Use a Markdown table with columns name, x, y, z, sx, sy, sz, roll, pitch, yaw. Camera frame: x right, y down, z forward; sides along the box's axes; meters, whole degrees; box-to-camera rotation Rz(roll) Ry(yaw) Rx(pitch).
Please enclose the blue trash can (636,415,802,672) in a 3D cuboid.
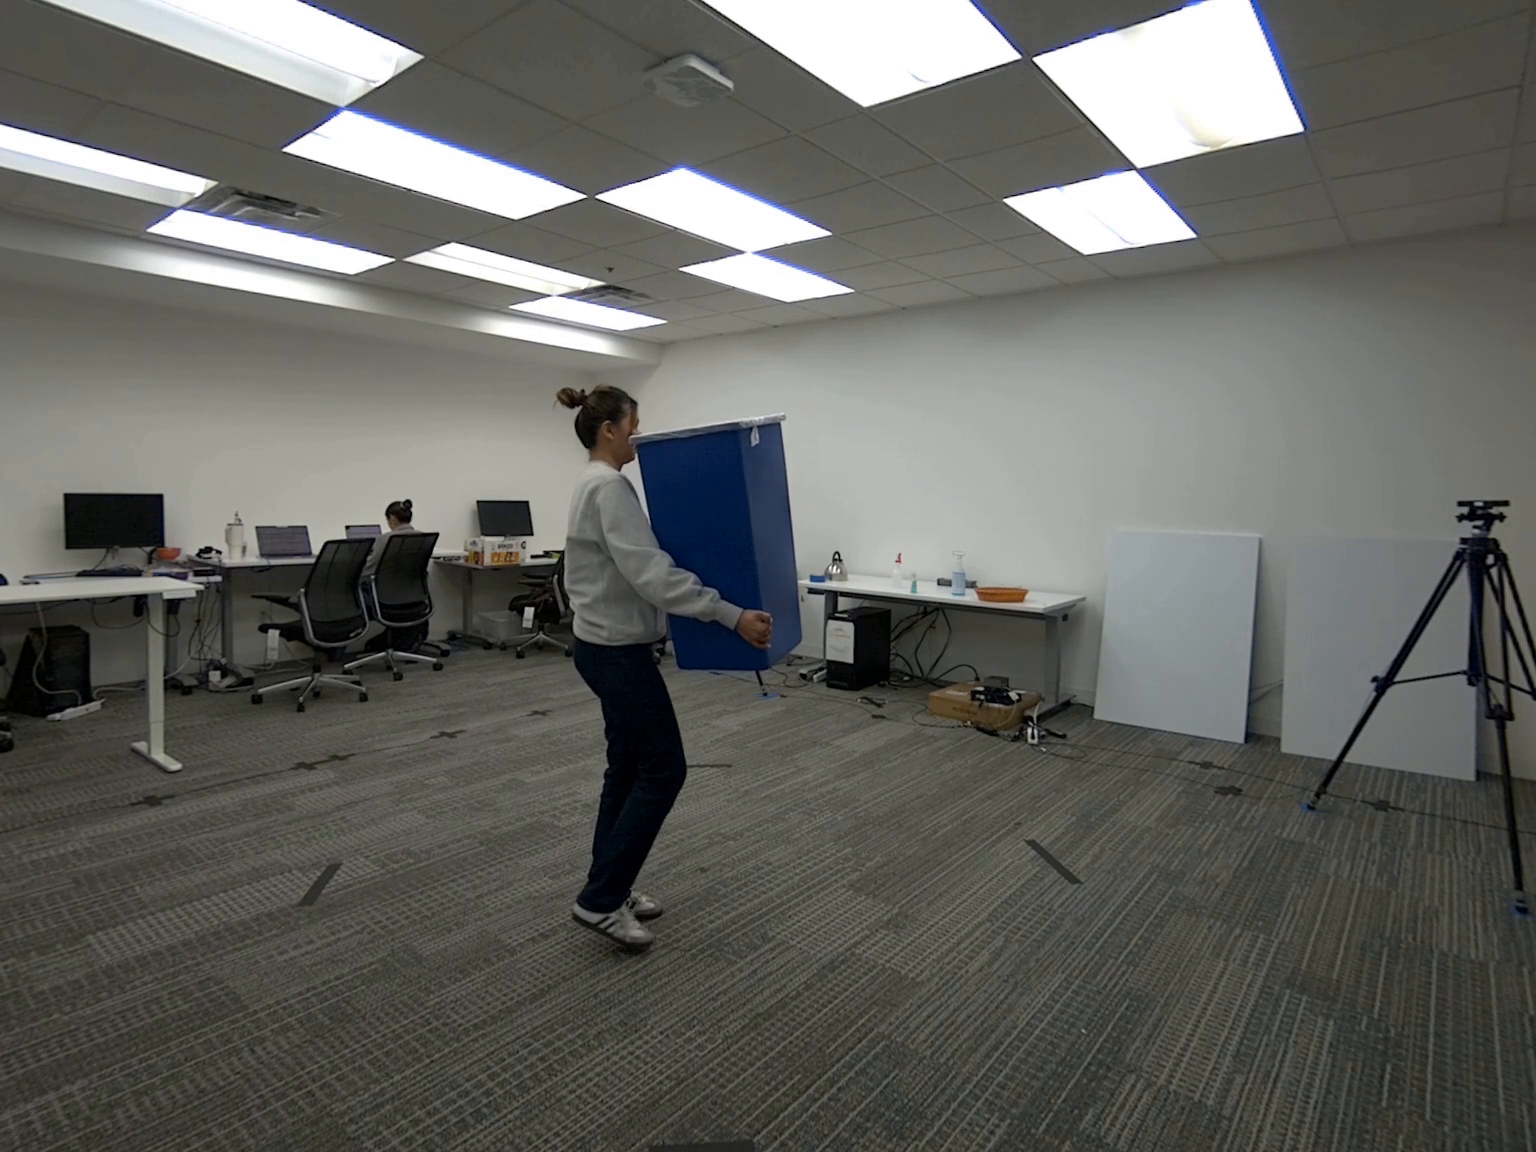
| name | x | y | z | sx | sy | sz | roll | pitch | yaw |
| --- | --- | --- | --- | --- | --- | --- | --- | --- | --- |
| blue trash can | -0.146 | -0.106 | 2.571 | 0.383 | 0.708 | 0.372 | -4 | 8 | 25 |
